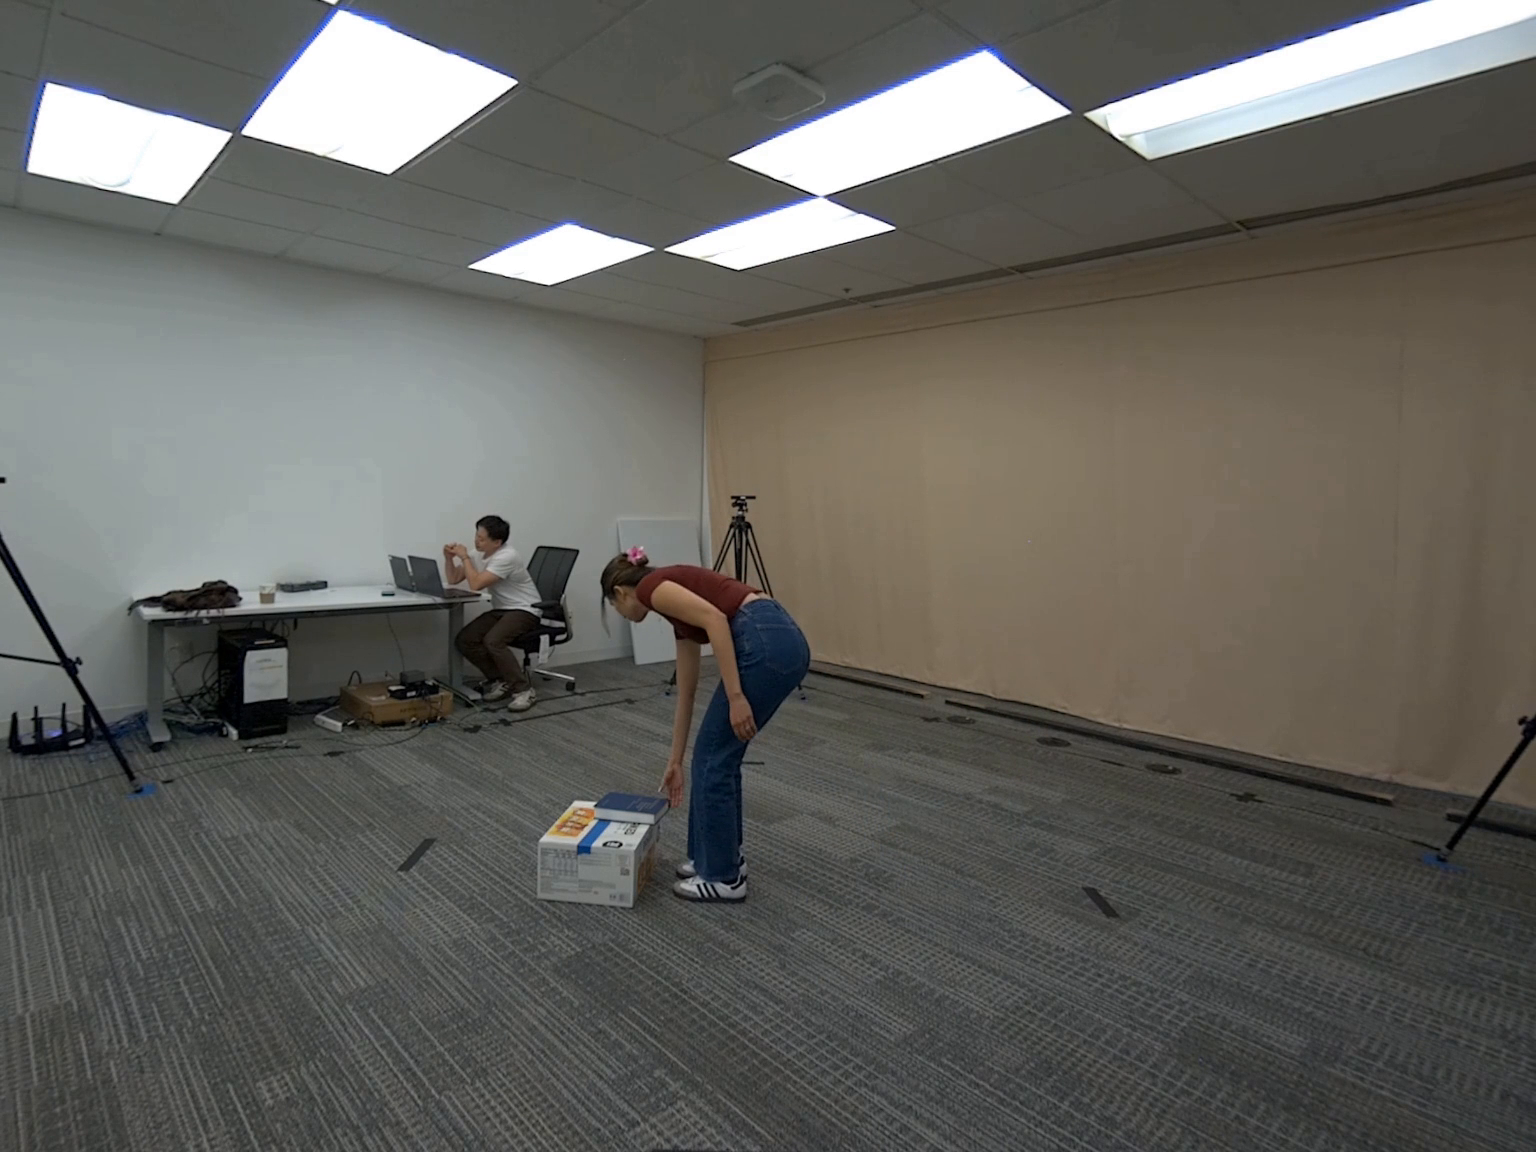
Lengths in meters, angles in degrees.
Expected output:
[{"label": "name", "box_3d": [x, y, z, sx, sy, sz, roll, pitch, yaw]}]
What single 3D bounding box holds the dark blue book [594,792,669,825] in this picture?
[{"label": "dark blue book", "box_3d": [-0.509, 0.858, 3.146, 0.248, 0.045, 0.162, 3, 7, 14]}]
